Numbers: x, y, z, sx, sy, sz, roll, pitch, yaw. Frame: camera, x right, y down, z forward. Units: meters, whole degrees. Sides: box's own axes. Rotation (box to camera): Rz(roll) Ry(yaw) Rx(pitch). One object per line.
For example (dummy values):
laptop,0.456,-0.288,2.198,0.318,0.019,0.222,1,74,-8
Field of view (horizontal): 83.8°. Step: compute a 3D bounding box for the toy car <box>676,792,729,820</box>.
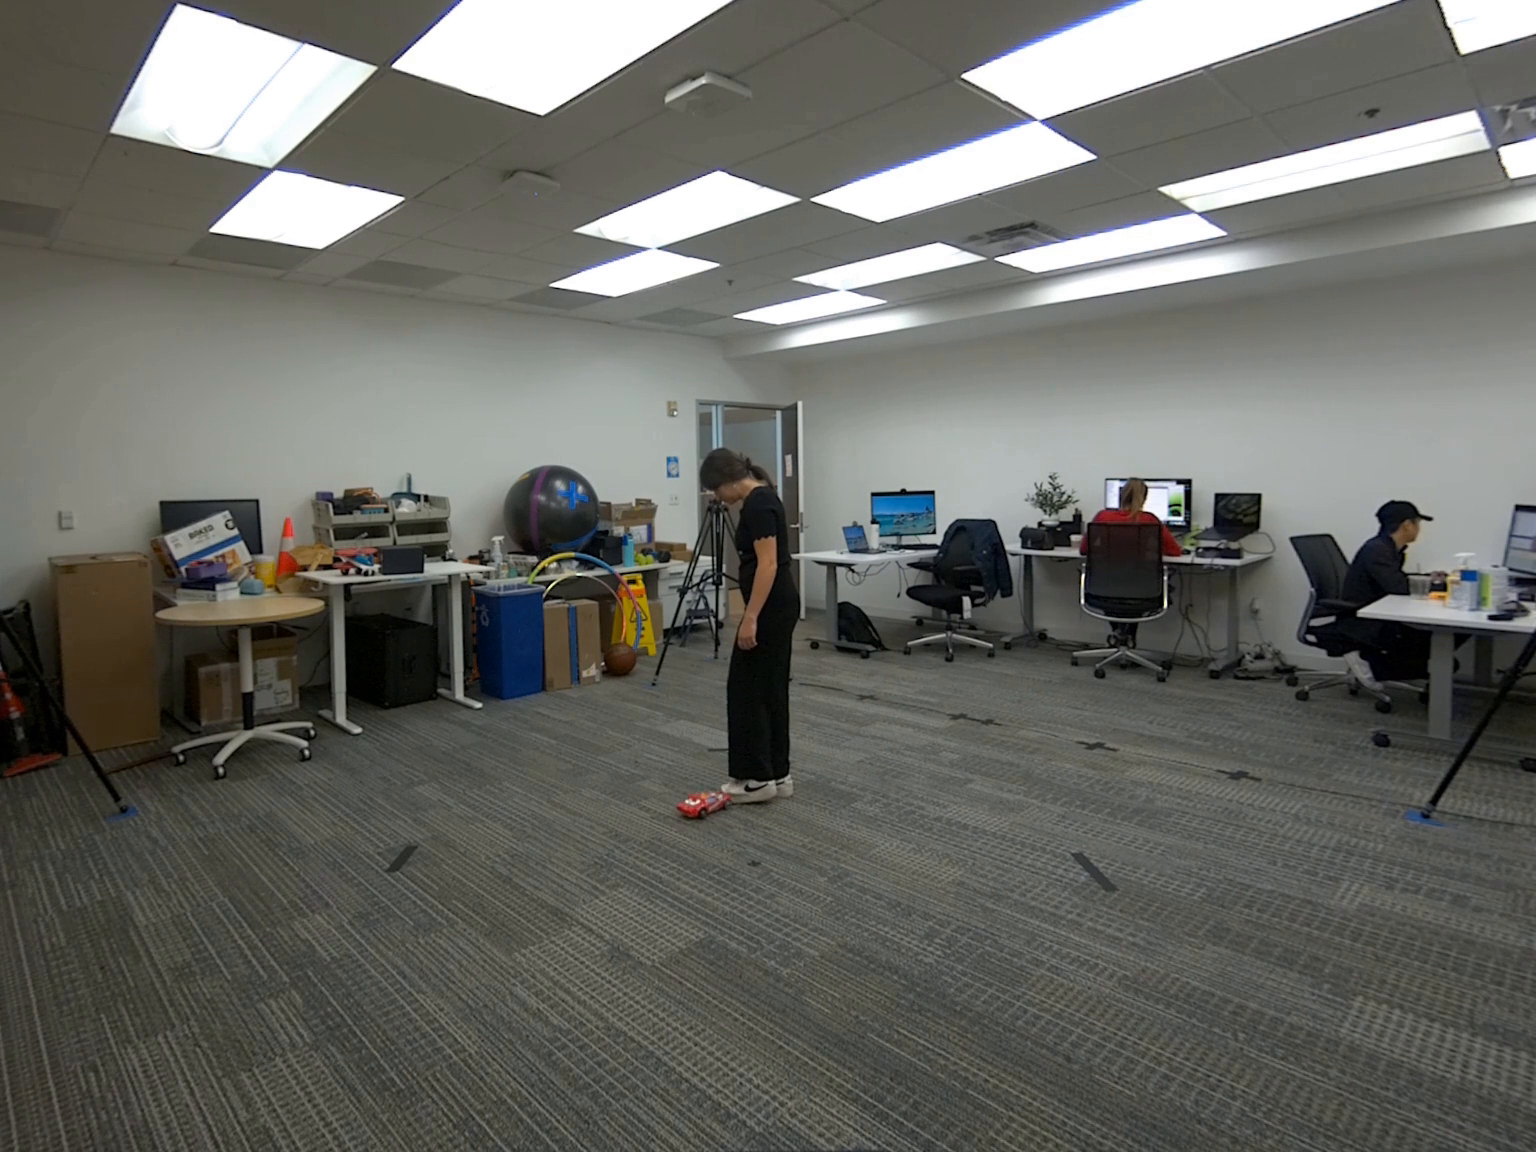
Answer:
toy car,-0.273,0.963,3.594,0.134,0.083,0.246,3,-4,45
